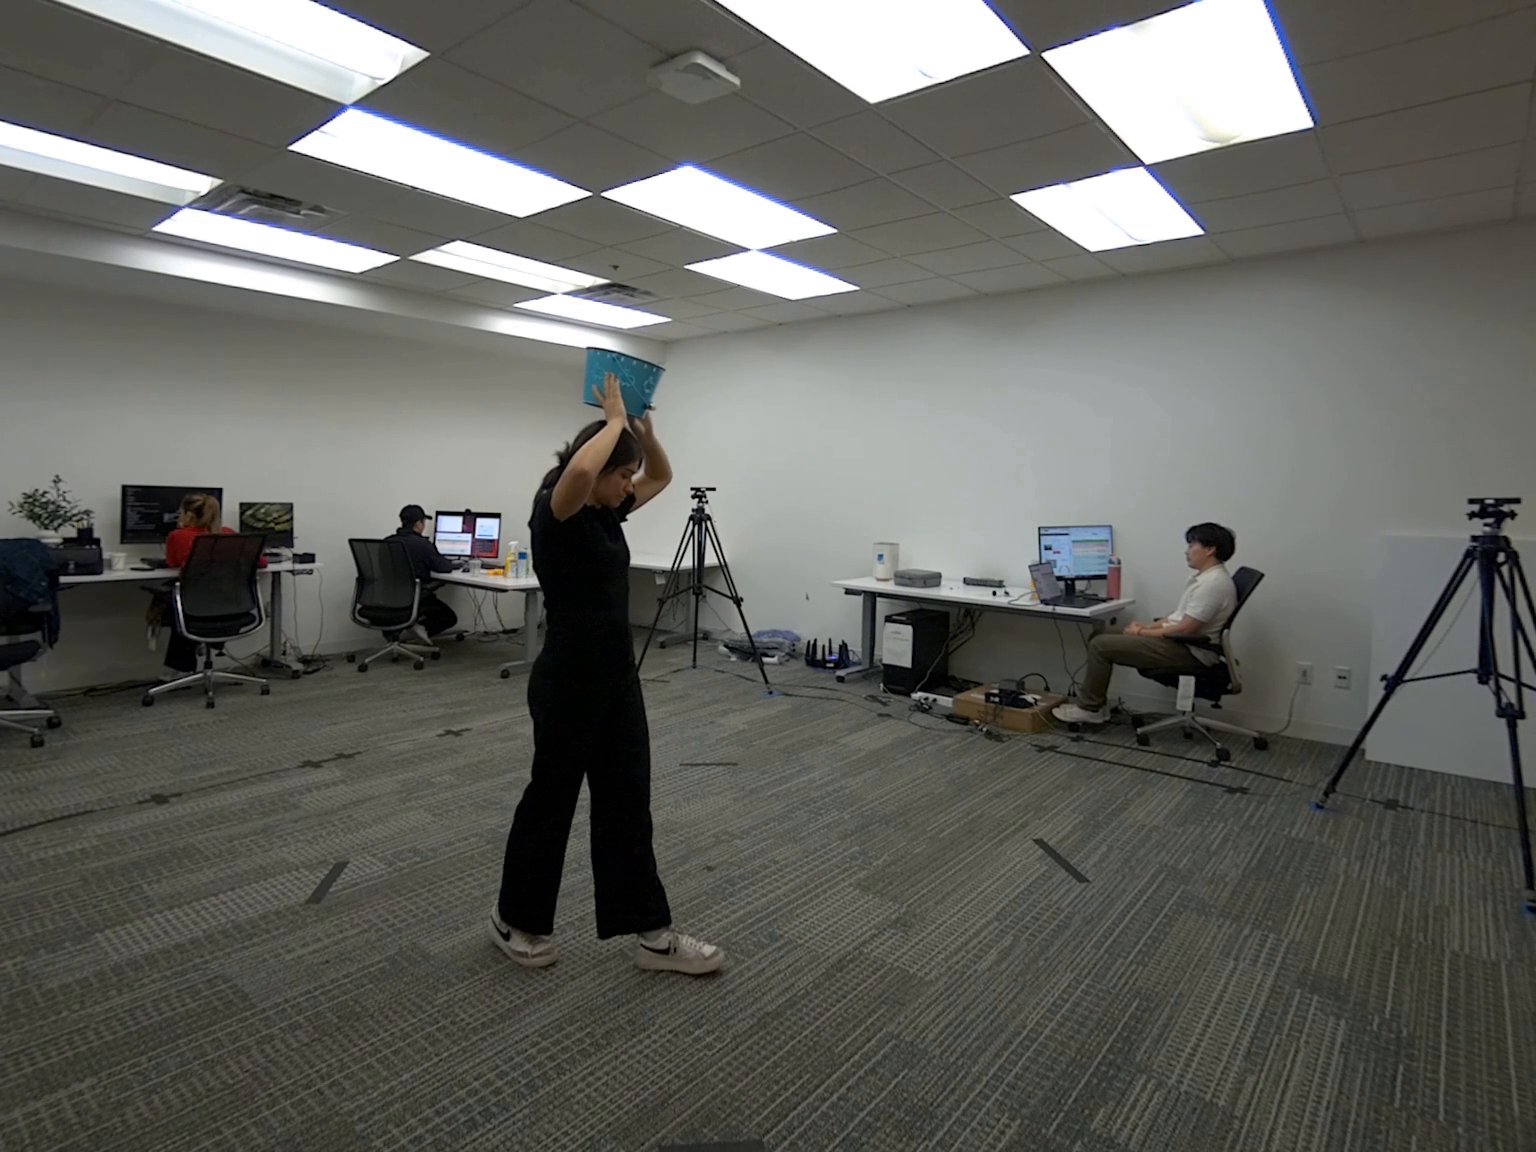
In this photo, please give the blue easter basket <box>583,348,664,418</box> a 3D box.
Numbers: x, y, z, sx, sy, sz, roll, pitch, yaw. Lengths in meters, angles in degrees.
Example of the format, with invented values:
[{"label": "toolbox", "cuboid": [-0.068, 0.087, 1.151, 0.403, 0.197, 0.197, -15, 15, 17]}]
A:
[{"label": "blue easter basket", "cuboid": [-0.422, -0.540, 2.395, 0.243, 0.155, 0.245, 15, 6, -3]}]
